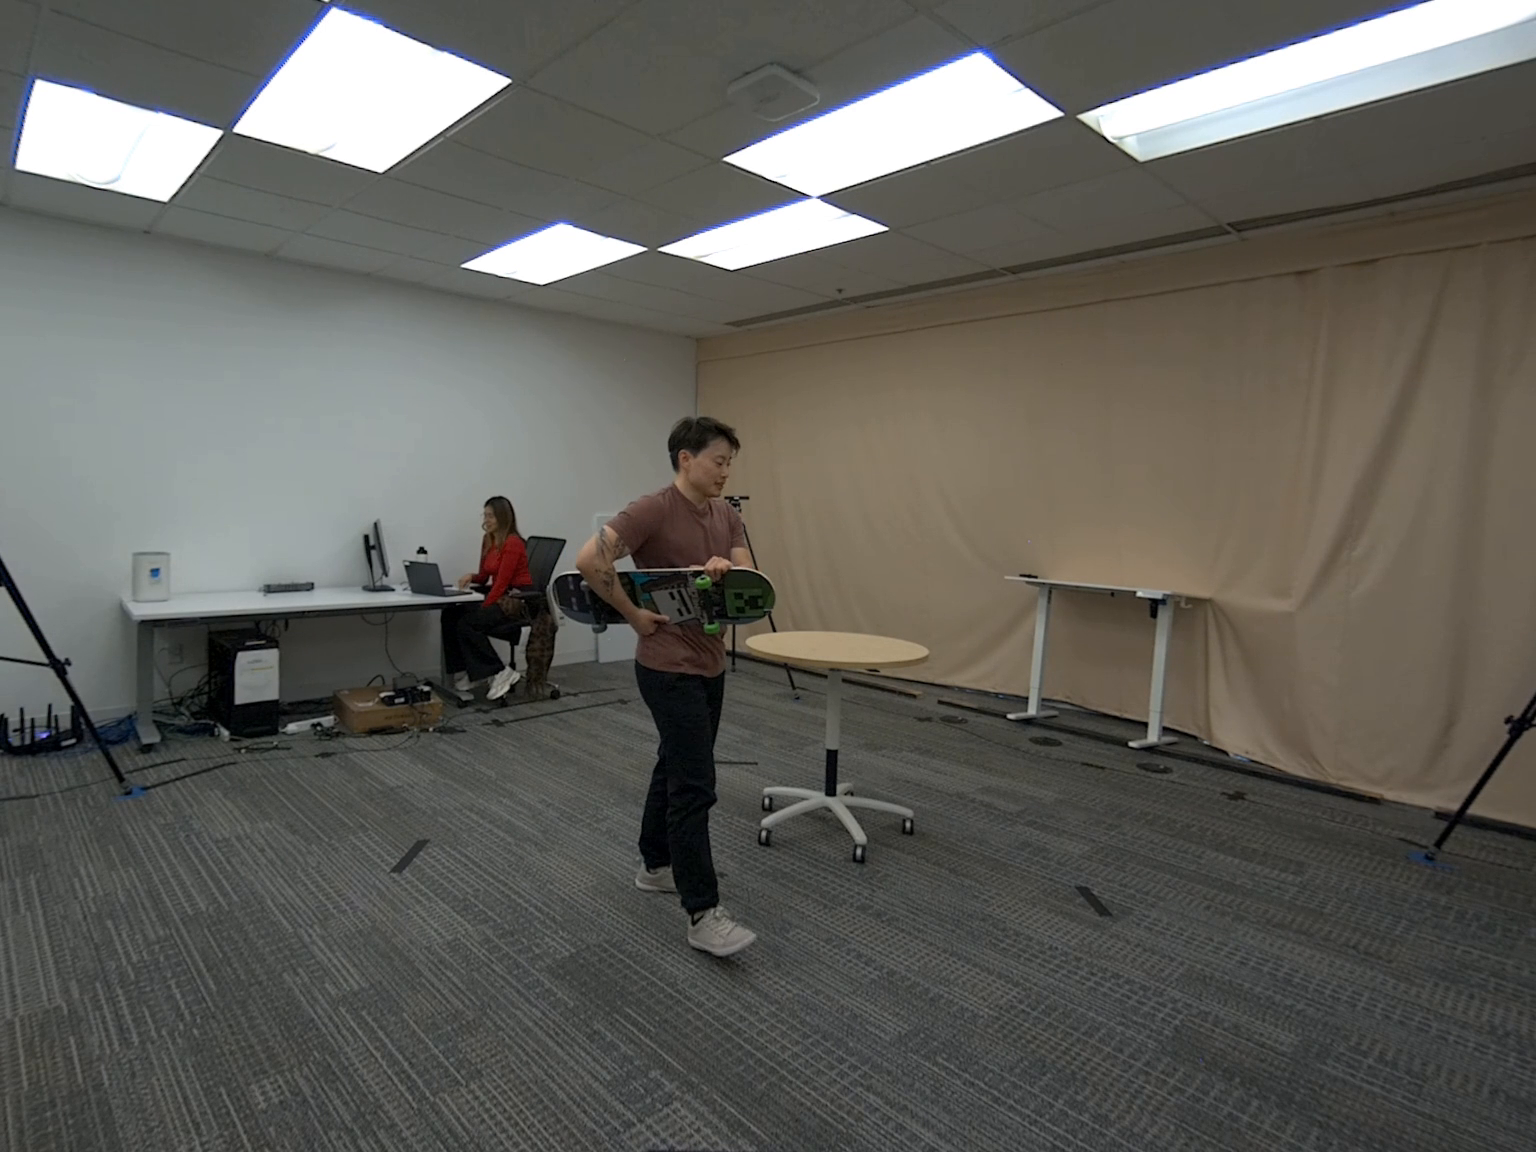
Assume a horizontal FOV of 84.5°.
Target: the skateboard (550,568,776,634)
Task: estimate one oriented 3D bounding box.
[{"bbox_3d":[-0.366,0.083,2.653,0.797,0.190,0.111,-2,23,20],"label":"skateboard"}]
